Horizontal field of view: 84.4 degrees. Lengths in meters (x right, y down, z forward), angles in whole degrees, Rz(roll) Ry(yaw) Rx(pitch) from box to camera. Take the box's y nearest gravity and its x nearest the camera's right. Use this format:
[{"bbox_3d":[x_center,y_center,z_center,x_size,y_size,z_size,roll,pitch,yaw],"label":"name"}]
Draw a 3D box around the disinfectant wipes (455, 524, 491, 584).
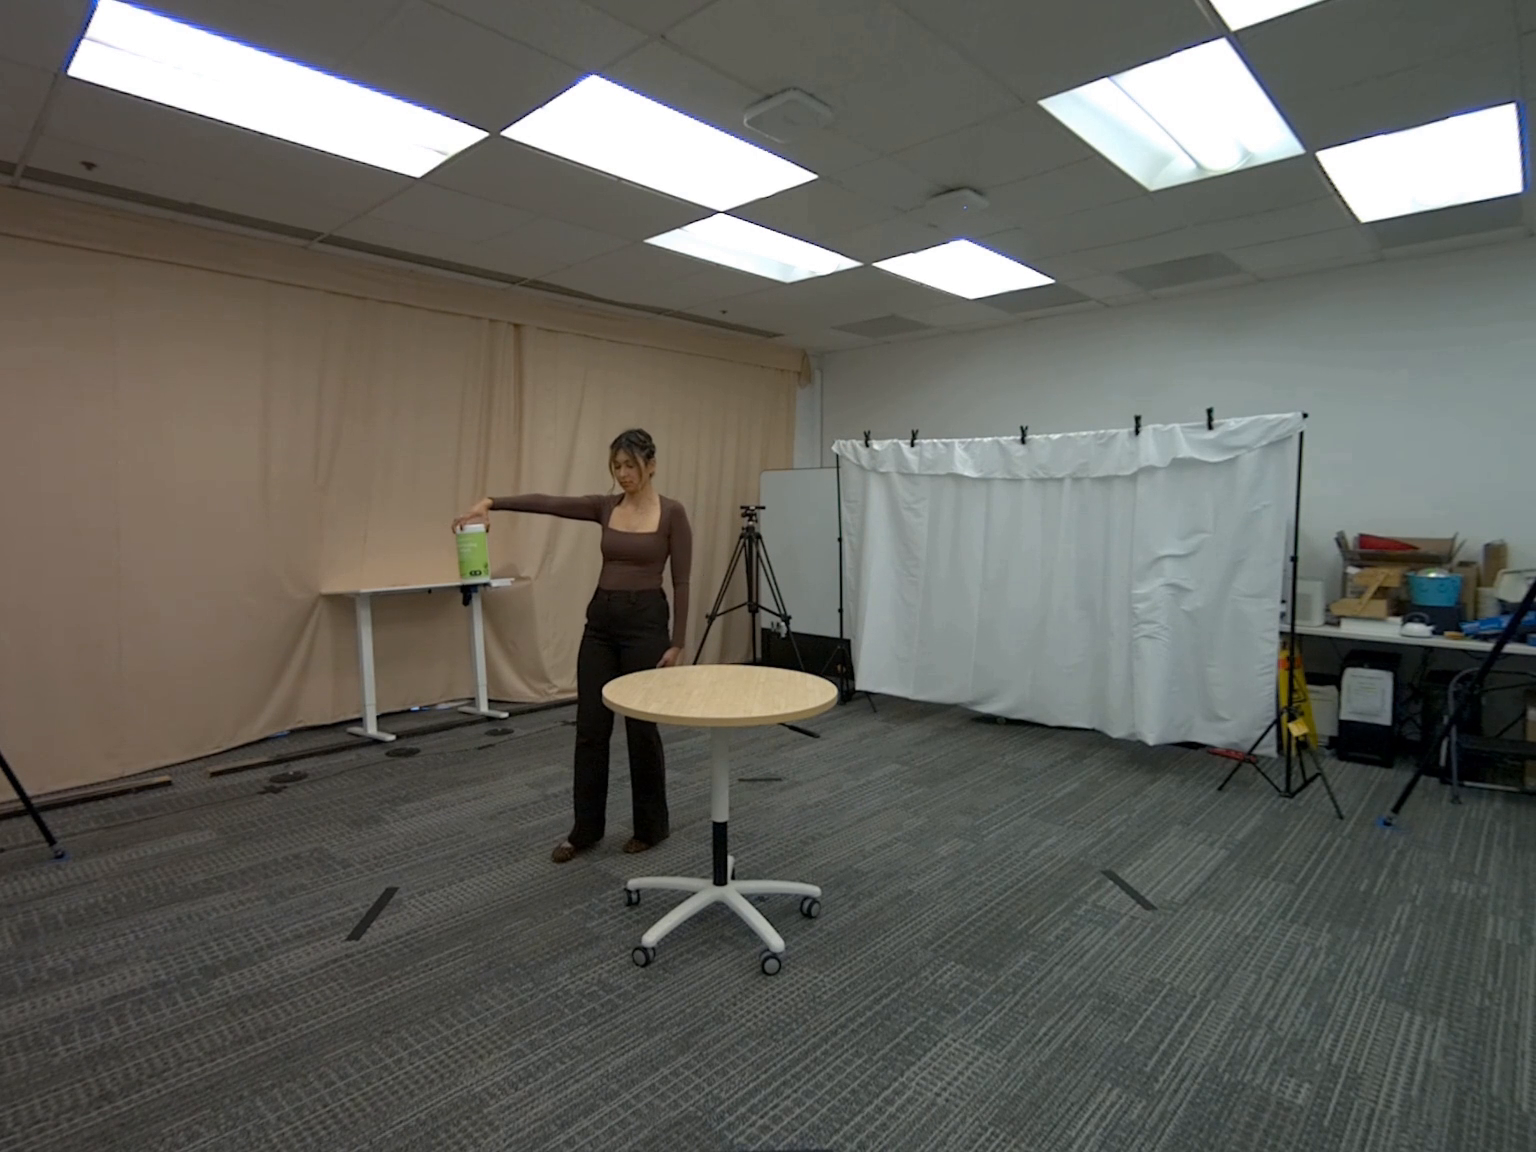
[{"bbox_3d":[-1.094,-0.083,3.079,0.118,0.217,0.118,-2,1,-2],"label":"disinfectant wipes"}]
